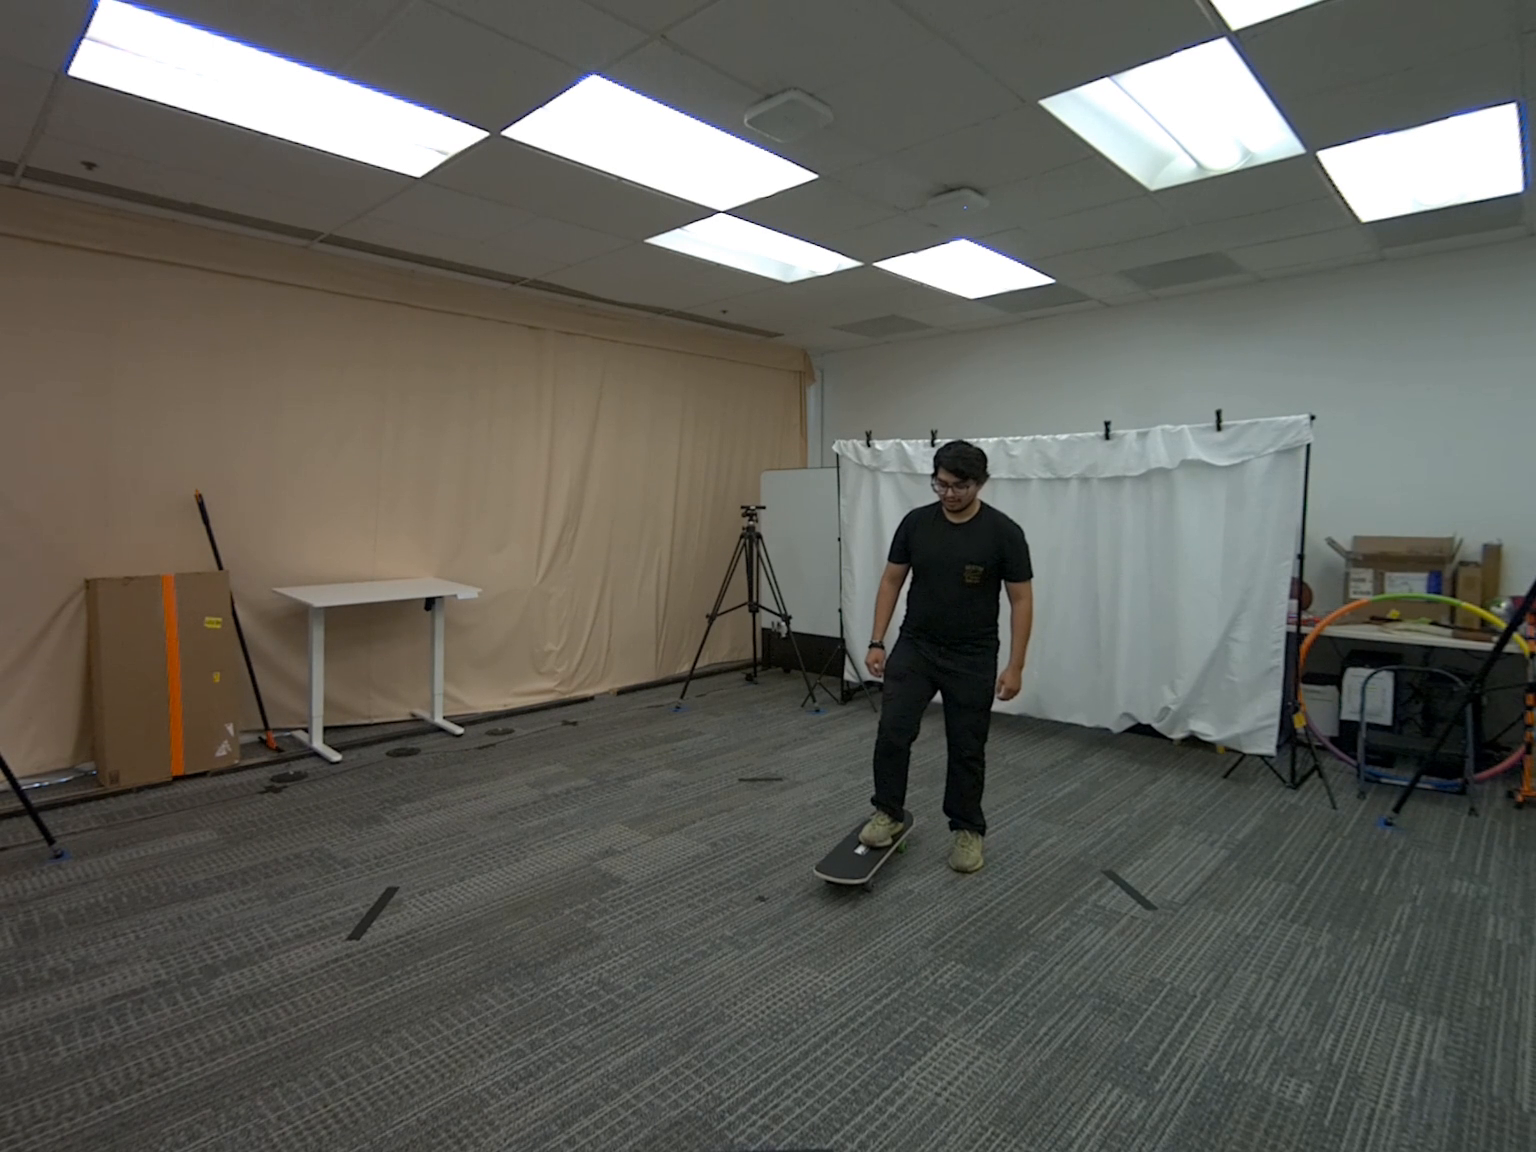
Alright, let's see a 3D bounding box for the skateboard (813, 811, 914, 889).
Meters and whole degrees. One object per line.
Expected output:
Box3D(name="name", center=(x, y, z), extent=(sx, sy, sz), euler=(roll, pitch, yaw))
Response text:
Box3D(name="skateboard", center=(0.390, 1.067, 3.242), extent=(0.199, 0.110, 0.766), euler=(4, 5, 27))
